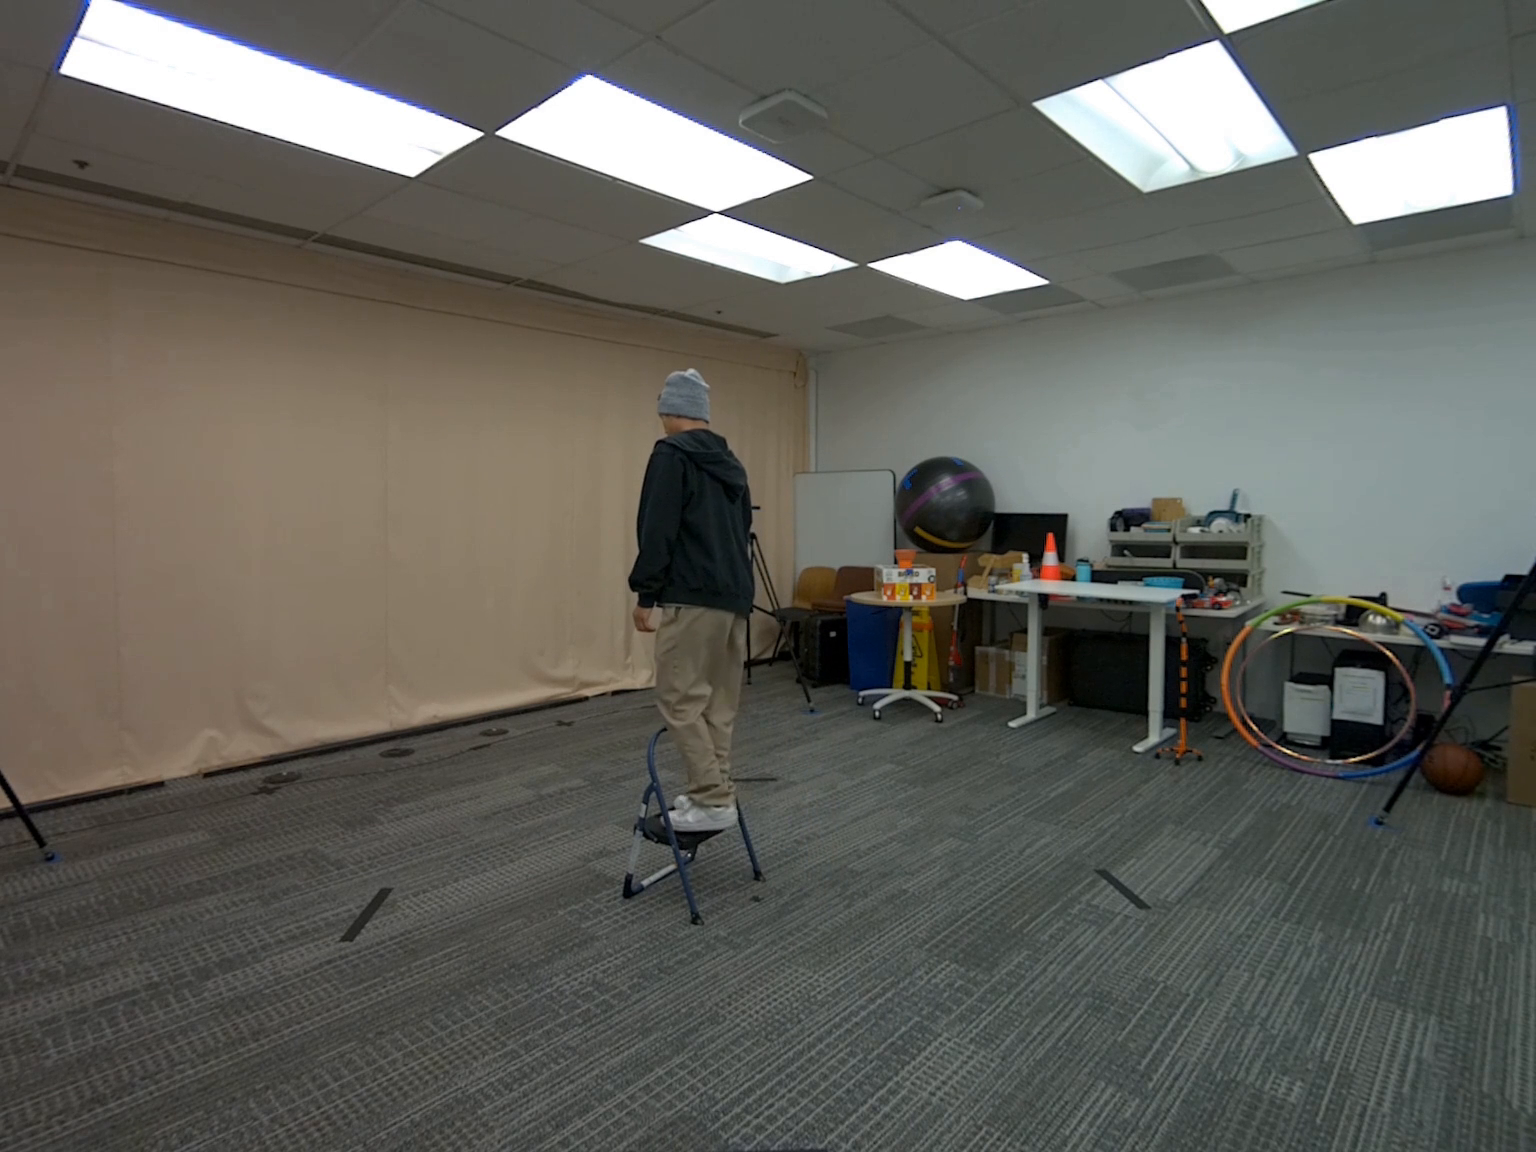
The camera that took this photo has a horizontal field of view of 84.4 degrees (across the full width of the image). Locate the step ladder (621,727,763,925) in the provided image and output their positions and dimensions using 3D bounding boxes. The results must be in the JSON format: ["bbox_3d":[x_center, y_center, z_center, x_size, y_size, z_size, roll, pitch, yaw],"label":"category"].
[{"bbox_3d":[-0.269,0.838,3.055,0.360,0.605,0.418,1,4,33],"label":"step ladder"}]
